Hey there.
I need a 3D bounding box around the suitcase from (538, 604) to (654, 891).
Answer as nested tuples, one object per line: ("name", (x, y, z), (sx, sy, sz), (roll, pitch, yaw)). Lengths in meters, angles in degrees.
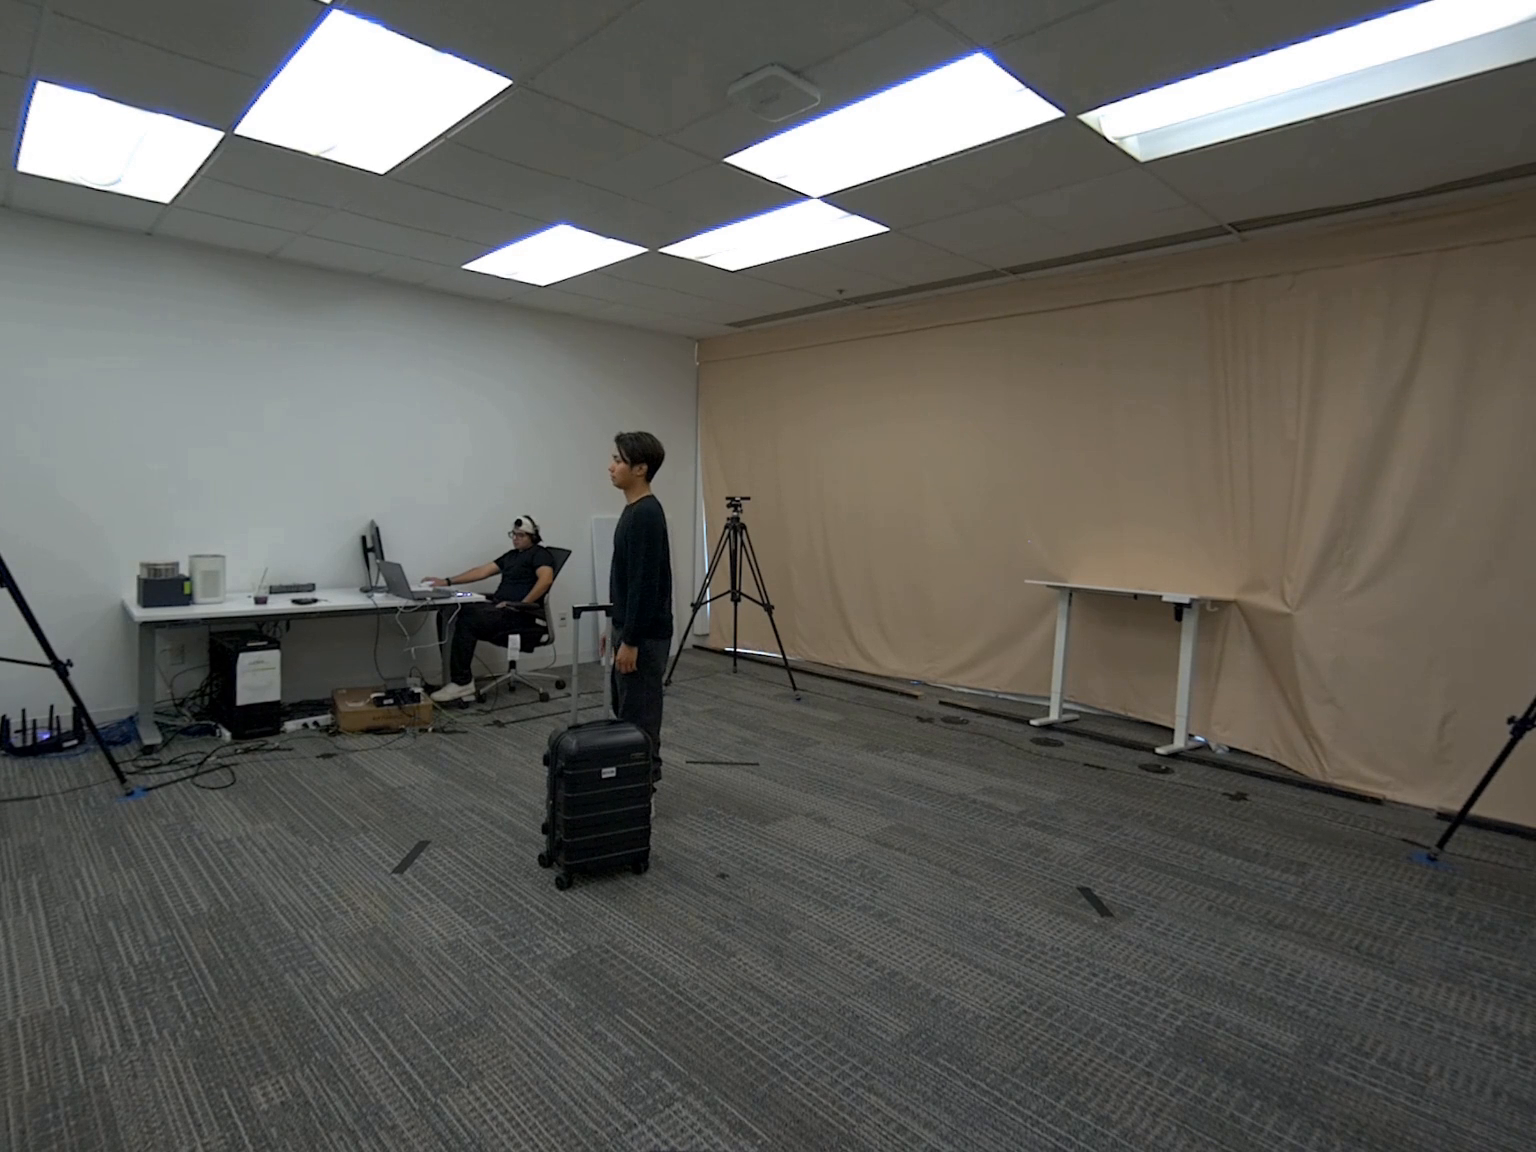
("suitcase", (-0.624, 0.624, 3.088), (0.376, 0.974, 0.263), (0, 7, -31))
